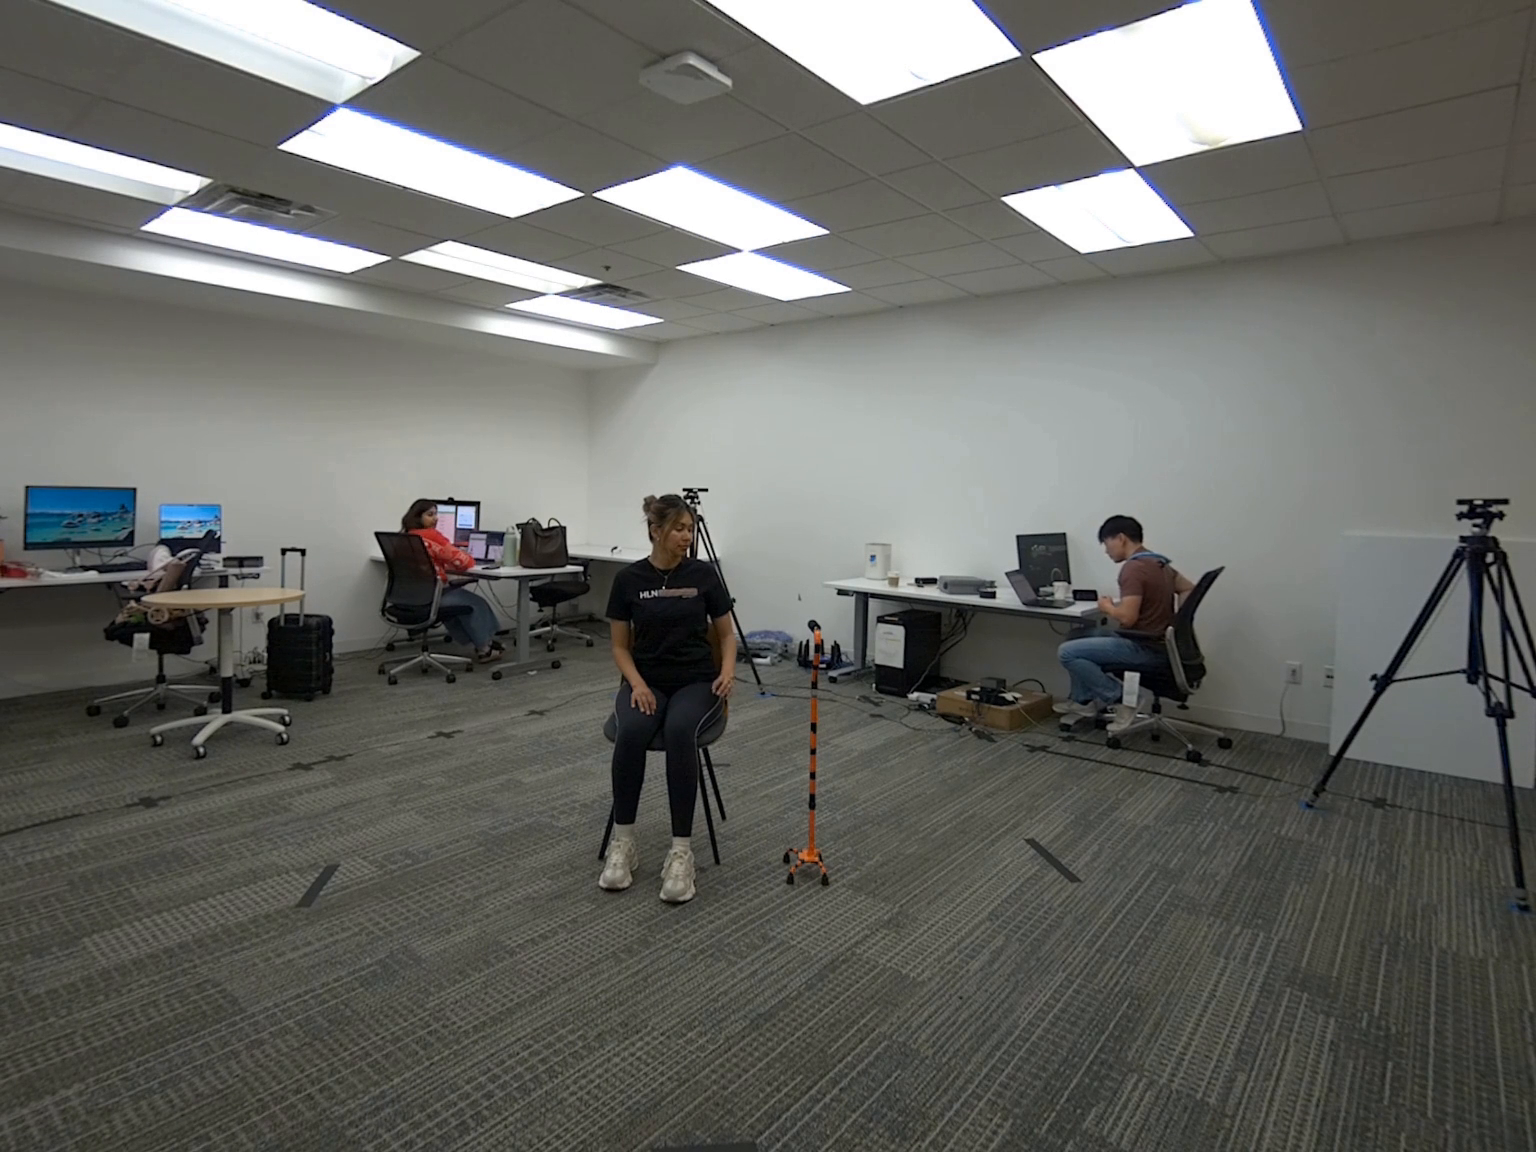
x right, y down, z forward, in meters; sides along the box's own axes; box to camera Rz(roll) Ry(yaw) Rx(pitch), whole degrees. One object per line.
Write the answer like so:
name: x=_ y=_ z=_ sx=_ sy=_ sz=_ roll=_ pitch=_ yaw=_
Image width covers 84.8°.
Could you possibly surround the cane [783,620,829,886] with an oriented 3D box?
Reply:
cane: x=0.144 y=0.627 z=3.077 sx=0.151 sy=0.905 sz=0.208 roll=1 pitch=3 yaw=-4
